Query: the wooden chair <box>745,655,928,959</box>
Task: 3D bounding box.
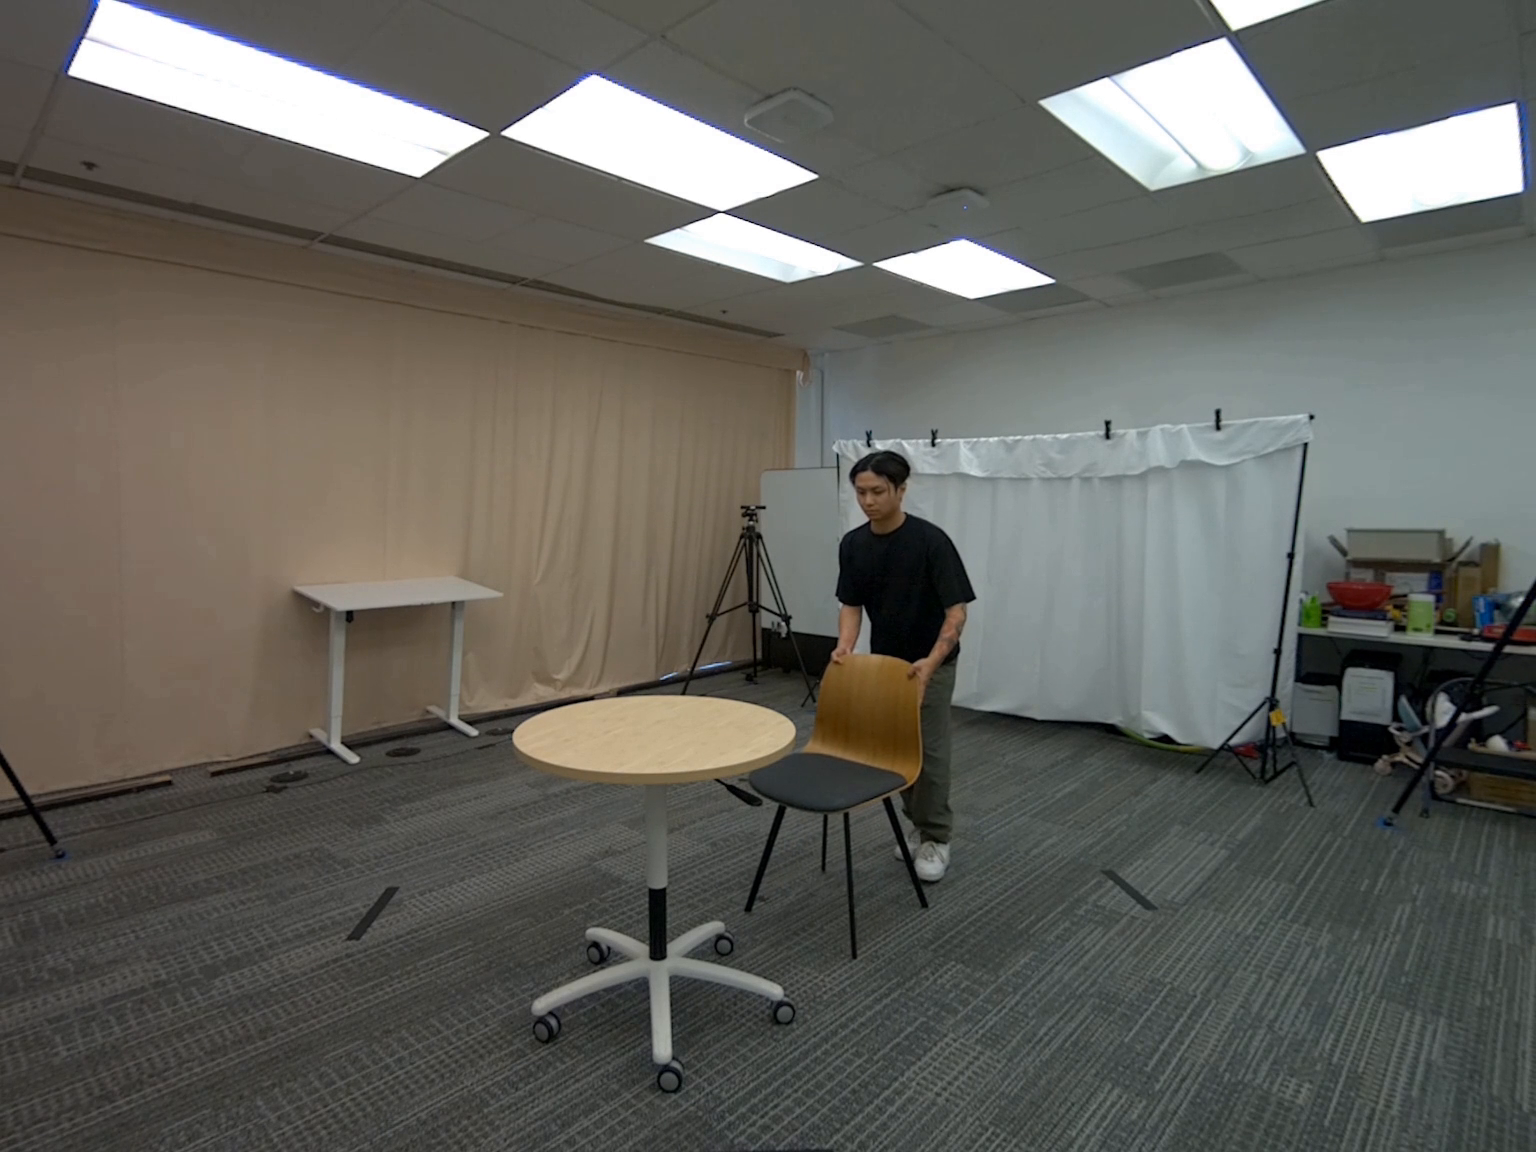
[{"bbox_3d":[0.237,0.726,2.862,0.494,0.877,0.506,3,0,42],"label":"wooden chair"}]
